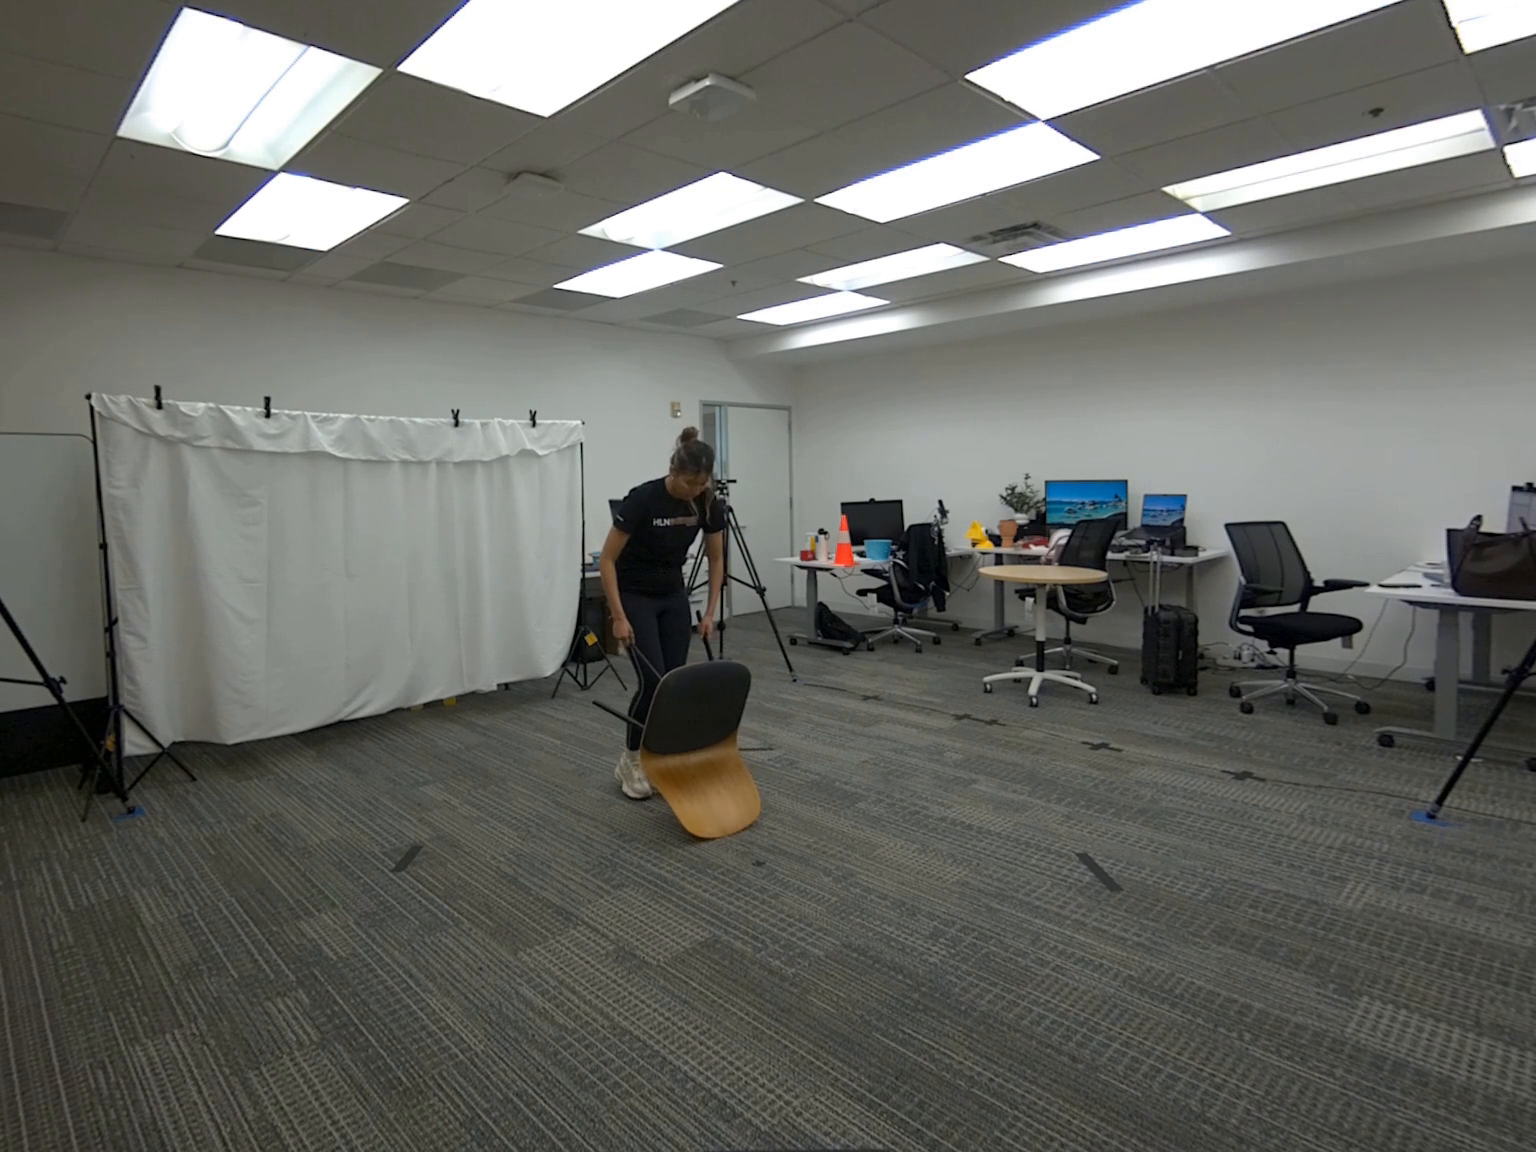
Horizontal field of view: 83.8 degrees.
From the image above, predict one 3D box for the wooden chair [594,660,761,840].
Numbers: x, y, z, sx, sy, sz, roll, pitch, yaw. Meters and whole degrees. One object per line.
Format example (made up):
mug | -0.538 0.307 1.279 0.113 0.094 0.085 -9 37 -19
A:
wooden chair | -0.324 0.571 3.548 0.466 0.516 0.913 -2 33 -35
